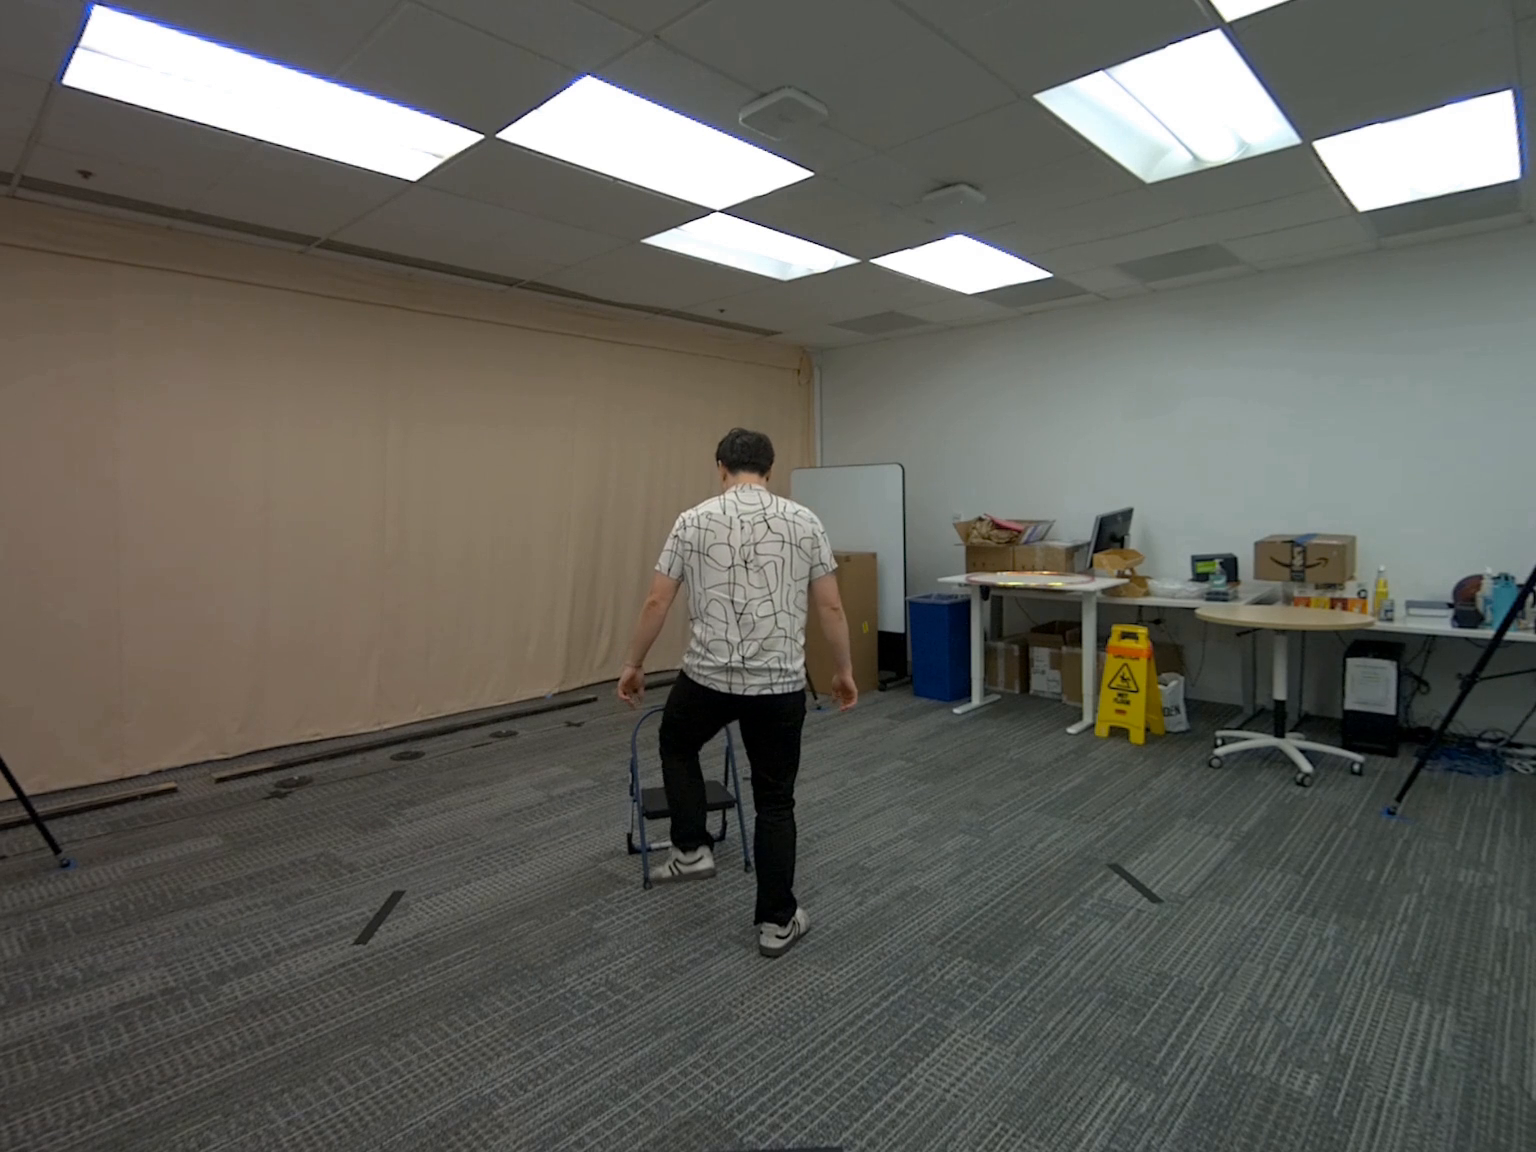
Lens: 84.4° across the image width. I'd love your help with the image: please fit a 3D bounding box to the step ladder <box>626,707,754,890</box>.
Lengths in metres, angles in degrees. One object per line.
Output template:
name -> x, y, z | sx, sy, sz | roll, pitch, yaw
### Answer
step ladder -> -0.320, 0.816, 3.281 | 0.422, 0.605, 0.357 | -2, 3, -20
